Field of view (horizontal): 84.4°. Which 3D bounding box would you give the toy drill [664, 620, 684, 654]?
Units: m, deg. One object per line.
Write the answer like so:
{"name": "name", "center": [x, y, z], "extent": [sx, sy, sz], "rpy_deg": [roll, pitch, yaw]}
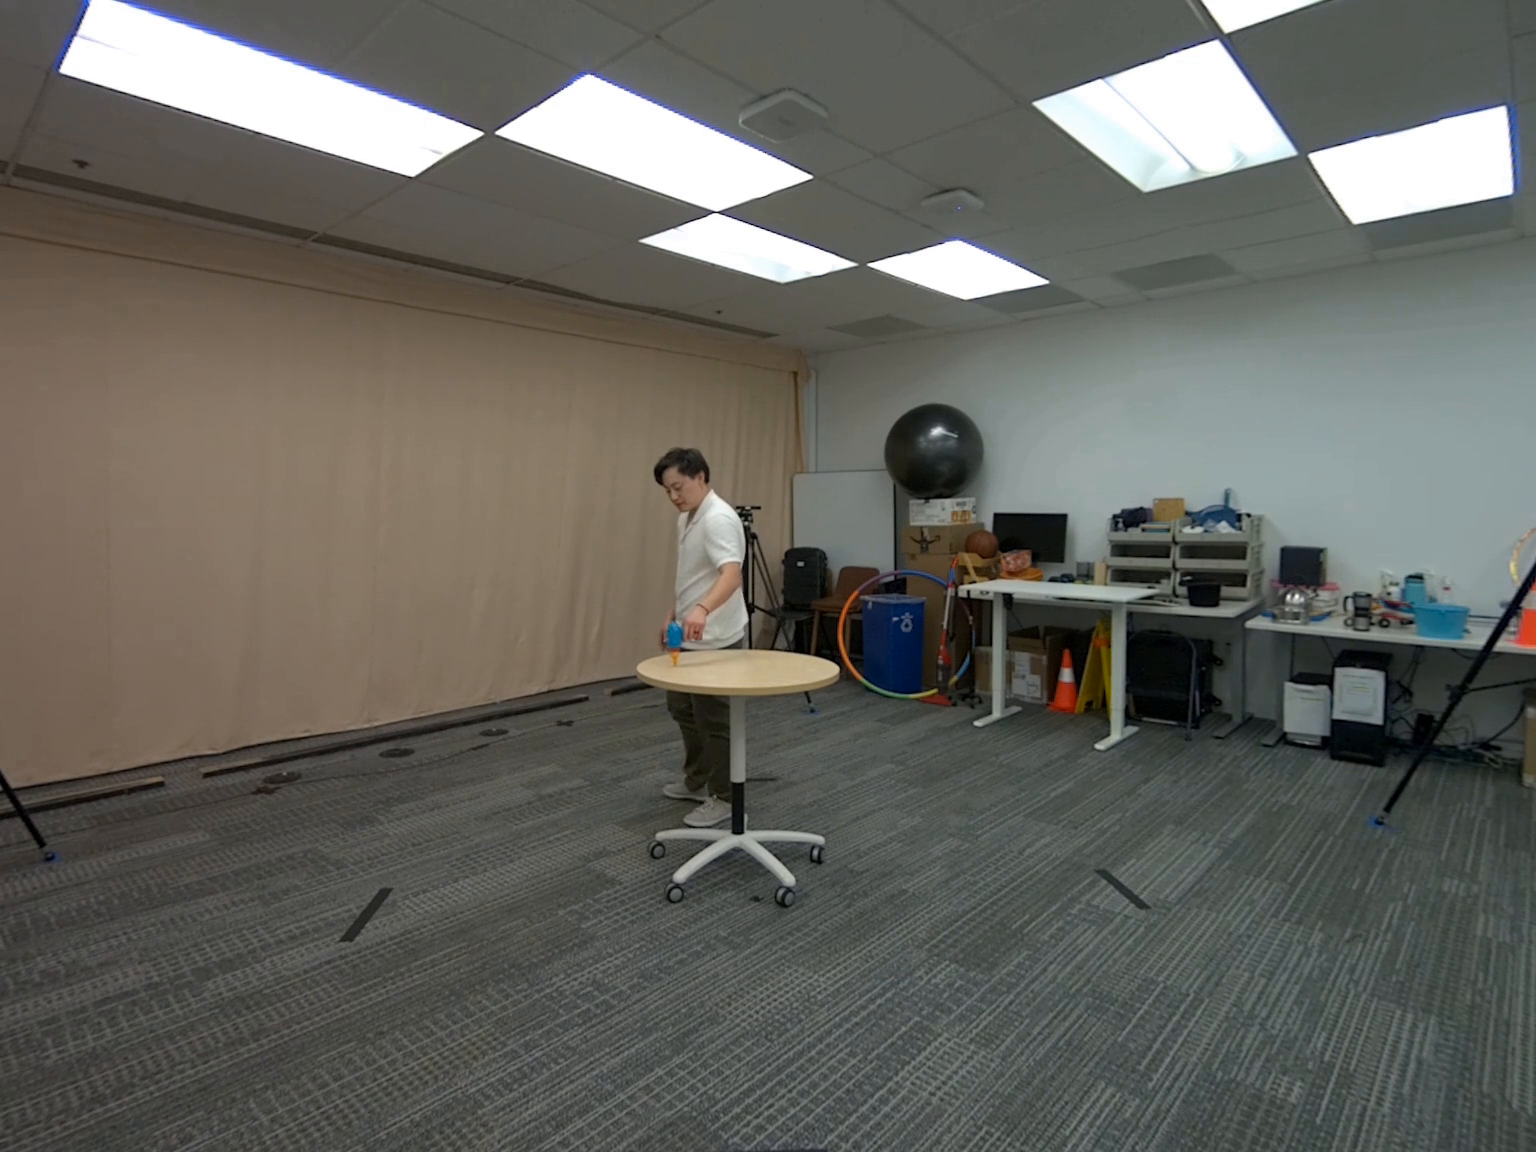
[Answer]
{"name": "toy drill", "center": [-0.317, 0.252, 3.222], "extent": [0.142, 0.170, 0.062], "rpy_deg": [-2, -6, -31]}
